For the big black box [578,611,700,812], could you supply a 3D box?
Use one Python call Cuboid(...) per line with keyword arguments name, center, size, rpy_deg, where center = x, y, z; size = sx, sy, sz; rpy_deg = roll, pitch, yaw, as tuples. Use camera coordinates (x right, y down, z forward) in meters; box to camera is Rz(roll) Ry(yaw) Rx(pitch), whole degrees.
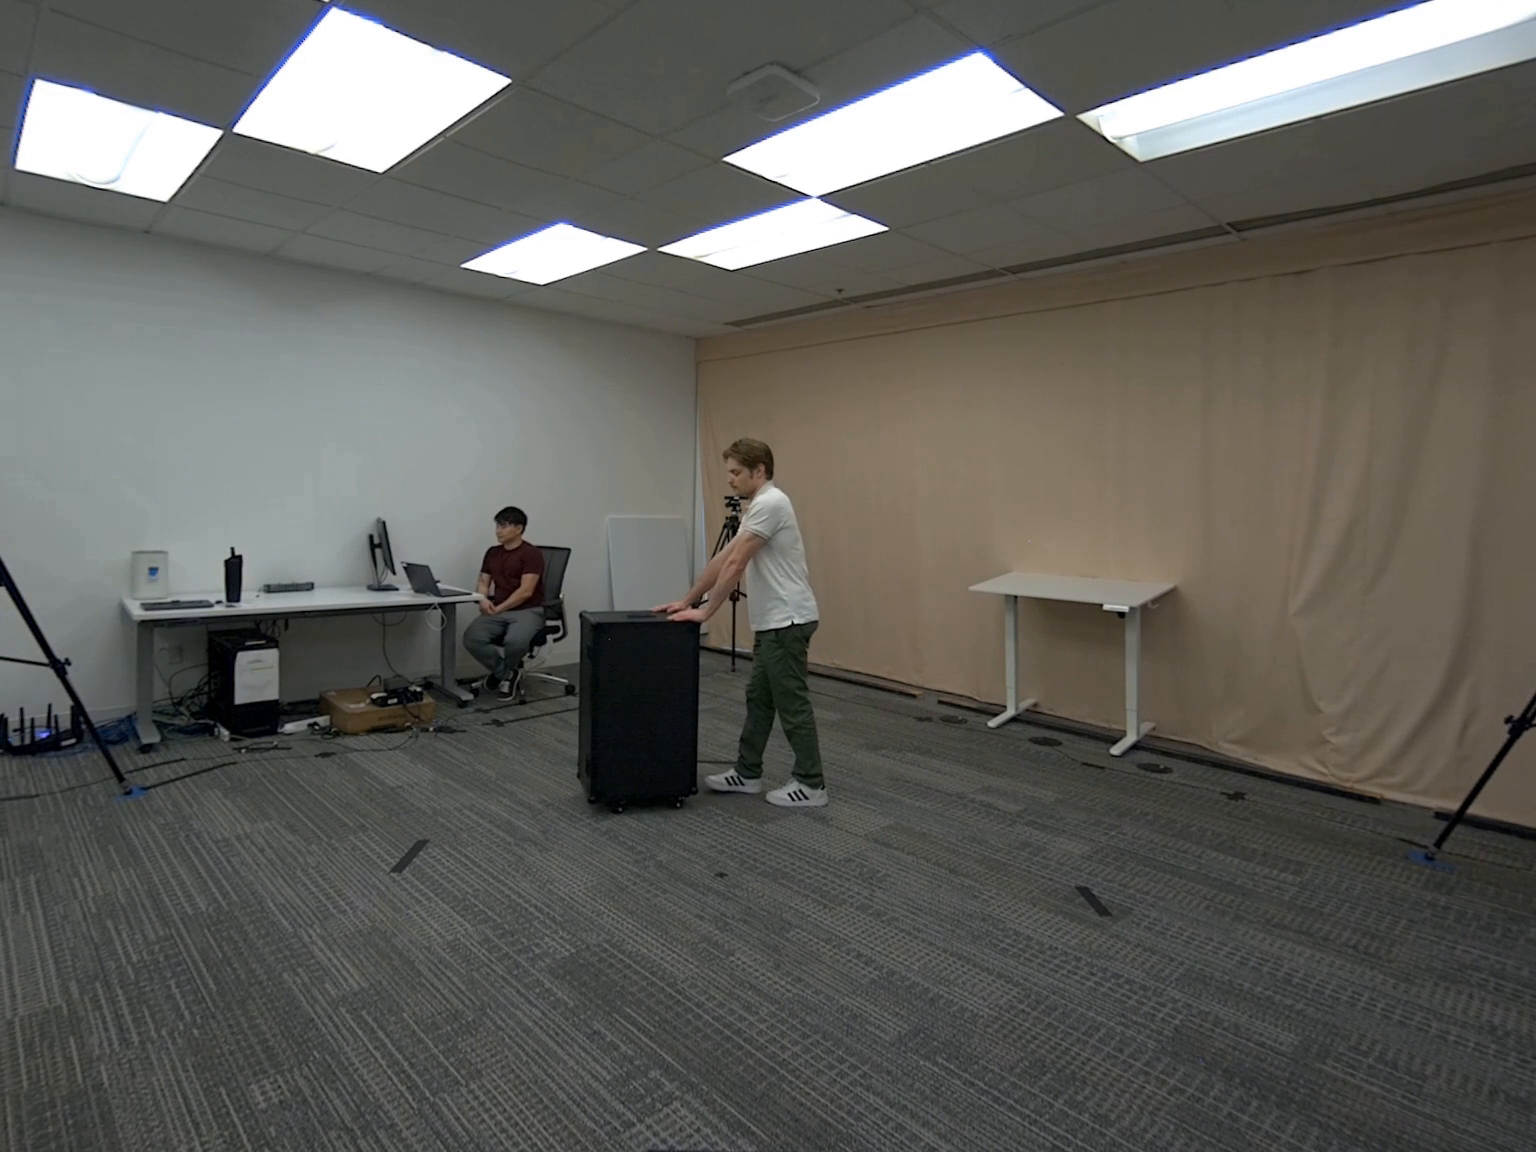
Cuboid(name="big black box", center=(-0.610, 0.608, 3.822), size=(0.515, 0.867, 0.392), rpy_deg=(1, 3, -21))
